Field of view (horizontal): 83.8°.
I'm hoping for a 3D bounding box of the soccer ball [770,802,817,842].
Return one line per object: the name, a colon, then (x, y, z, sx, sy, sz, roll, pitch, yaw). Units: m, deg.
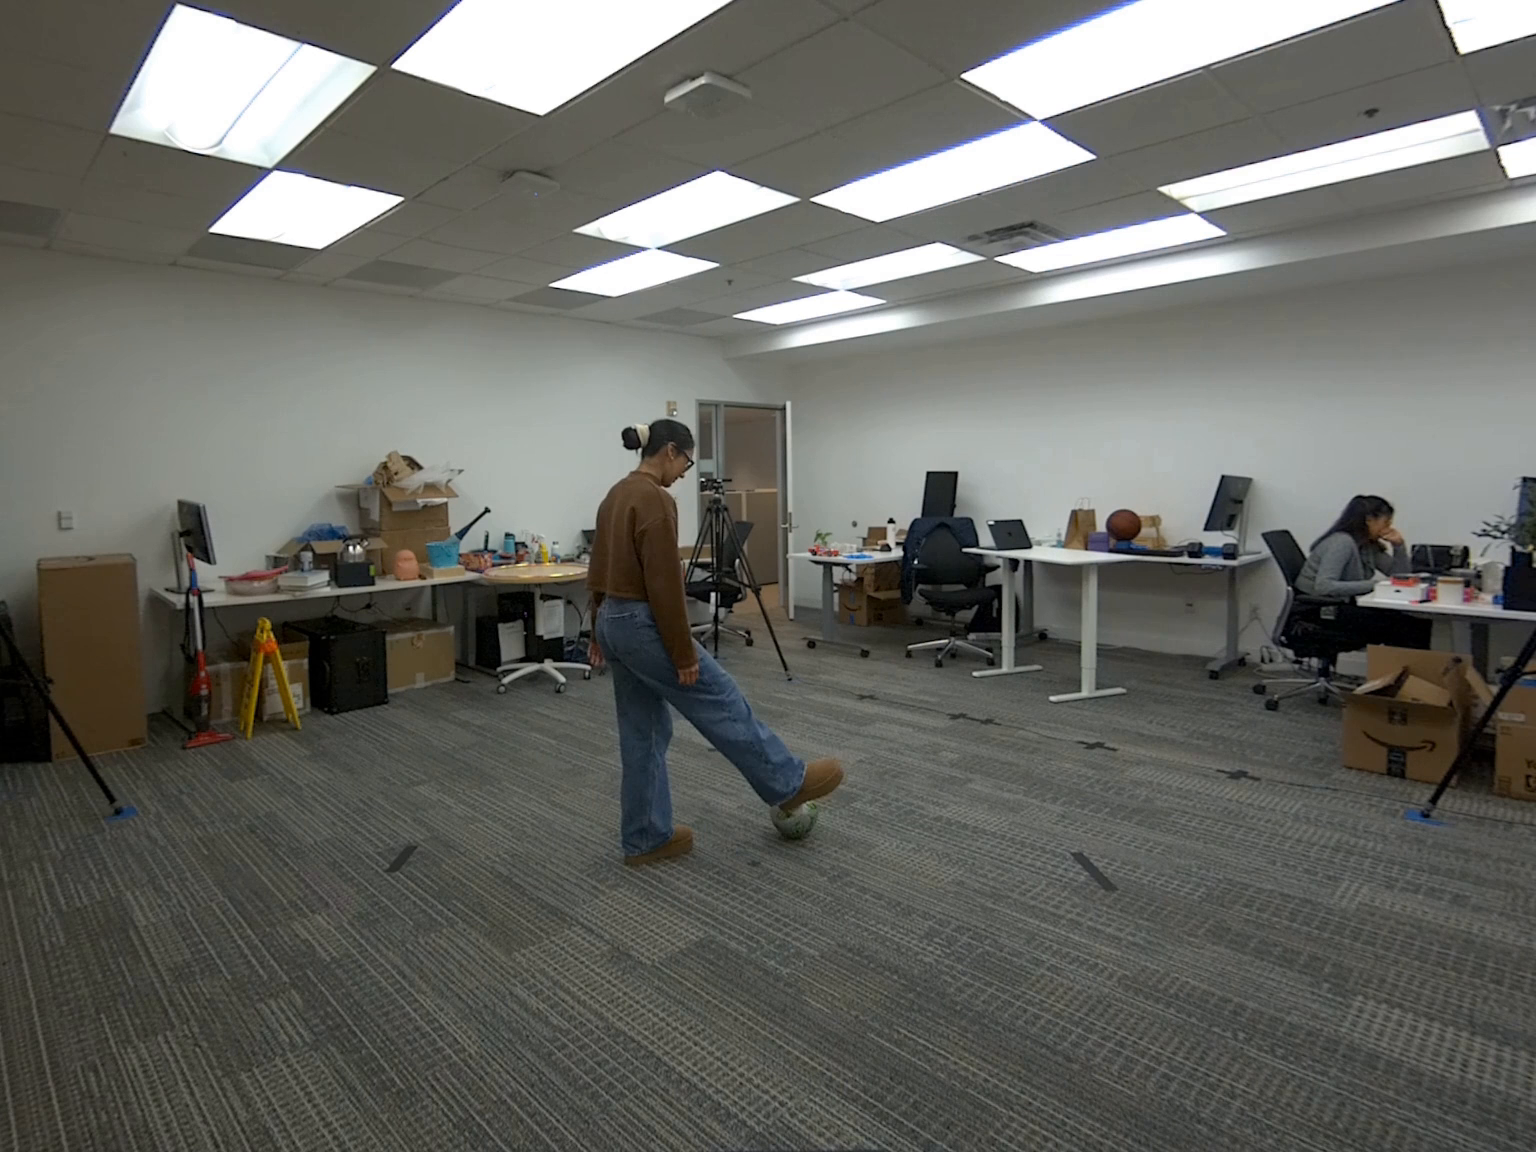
soccer ball: (0.104, 0.920, 3.337, 0.187, 0.187, 0.188, -1, 5, -2)
